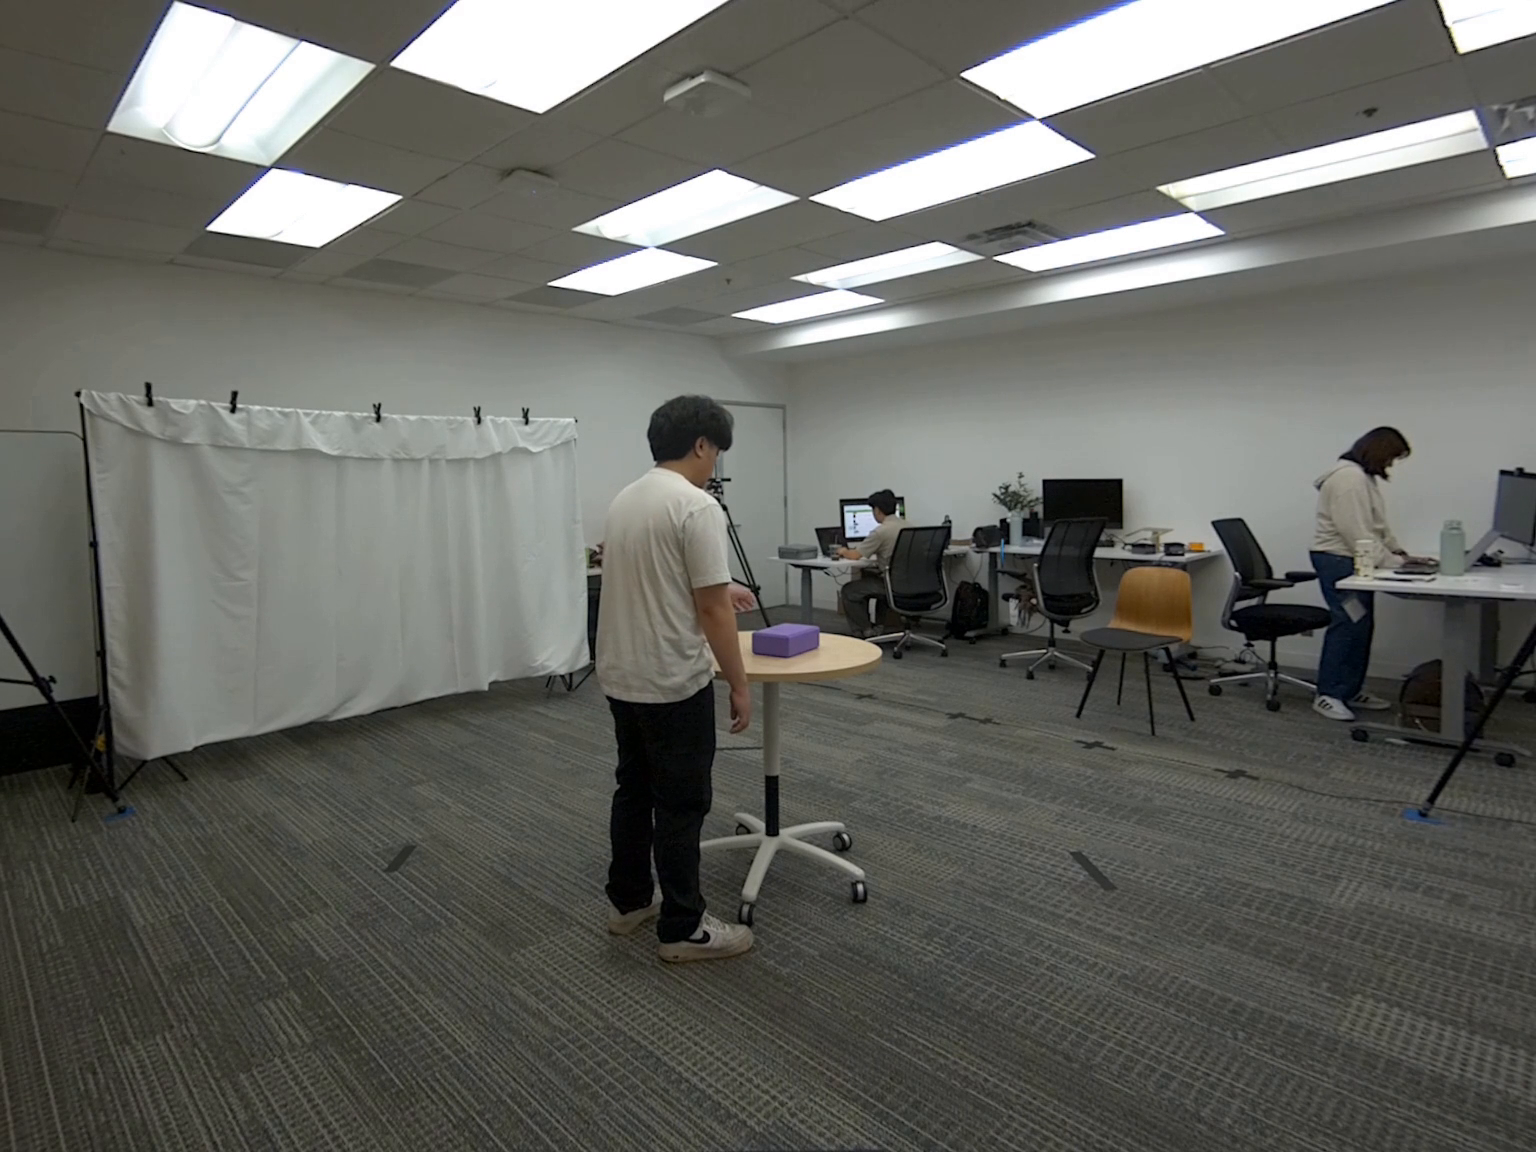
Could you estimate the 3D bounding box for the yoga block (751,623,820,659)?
[{"bbox_3d":[0.065,0.221,2.947,0.153,0.076,0.224,3,6,32],"label":"yoga block"}]
